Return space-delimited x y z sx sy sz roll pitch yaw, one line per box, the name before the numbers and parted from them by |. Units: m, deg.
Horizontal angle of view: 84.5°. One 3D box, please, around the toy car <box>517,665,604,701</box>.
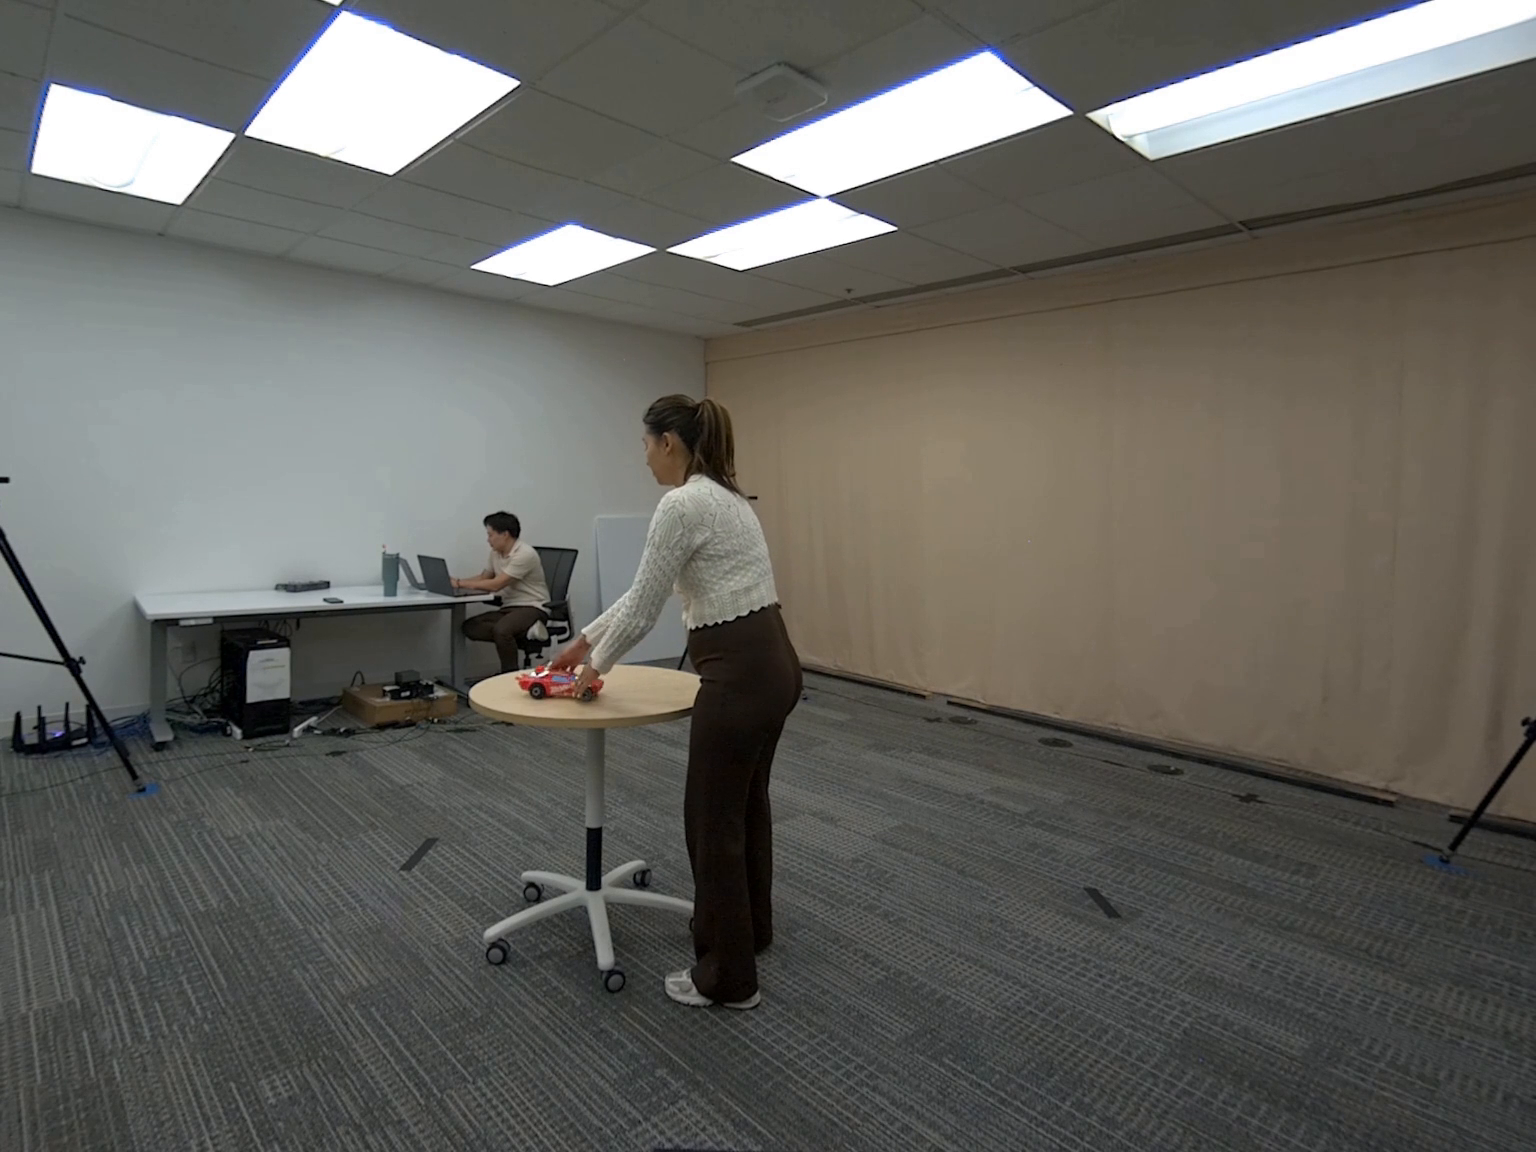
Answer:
toy car | -0.638 0.329 2.515 0.255 0.083 0.130 15 5 3
